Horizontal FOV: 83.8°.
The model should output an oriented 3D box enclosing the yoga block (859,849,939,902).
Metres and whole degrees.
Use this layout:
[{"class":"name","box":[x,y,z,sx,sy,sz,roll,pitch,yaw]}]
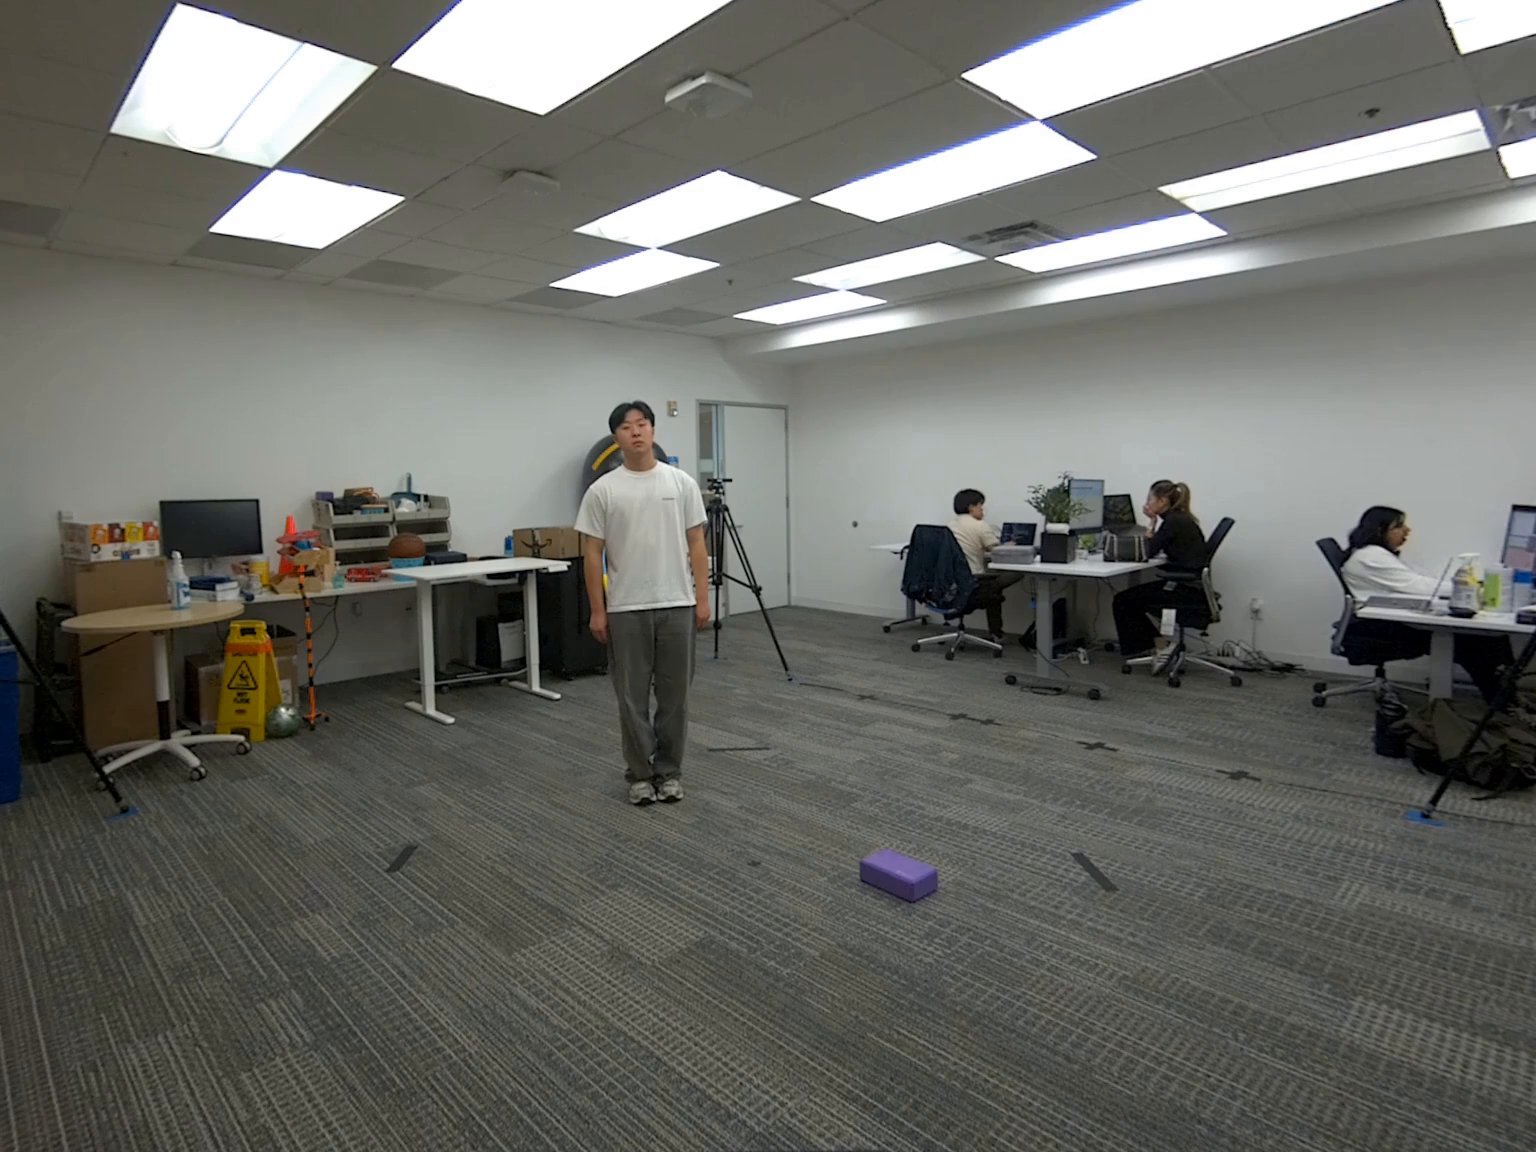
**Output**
[{"class":"yoga block","box":[0.449,1.021,2.922,0.145,0.076,0.236,-6,8,-42]}]
